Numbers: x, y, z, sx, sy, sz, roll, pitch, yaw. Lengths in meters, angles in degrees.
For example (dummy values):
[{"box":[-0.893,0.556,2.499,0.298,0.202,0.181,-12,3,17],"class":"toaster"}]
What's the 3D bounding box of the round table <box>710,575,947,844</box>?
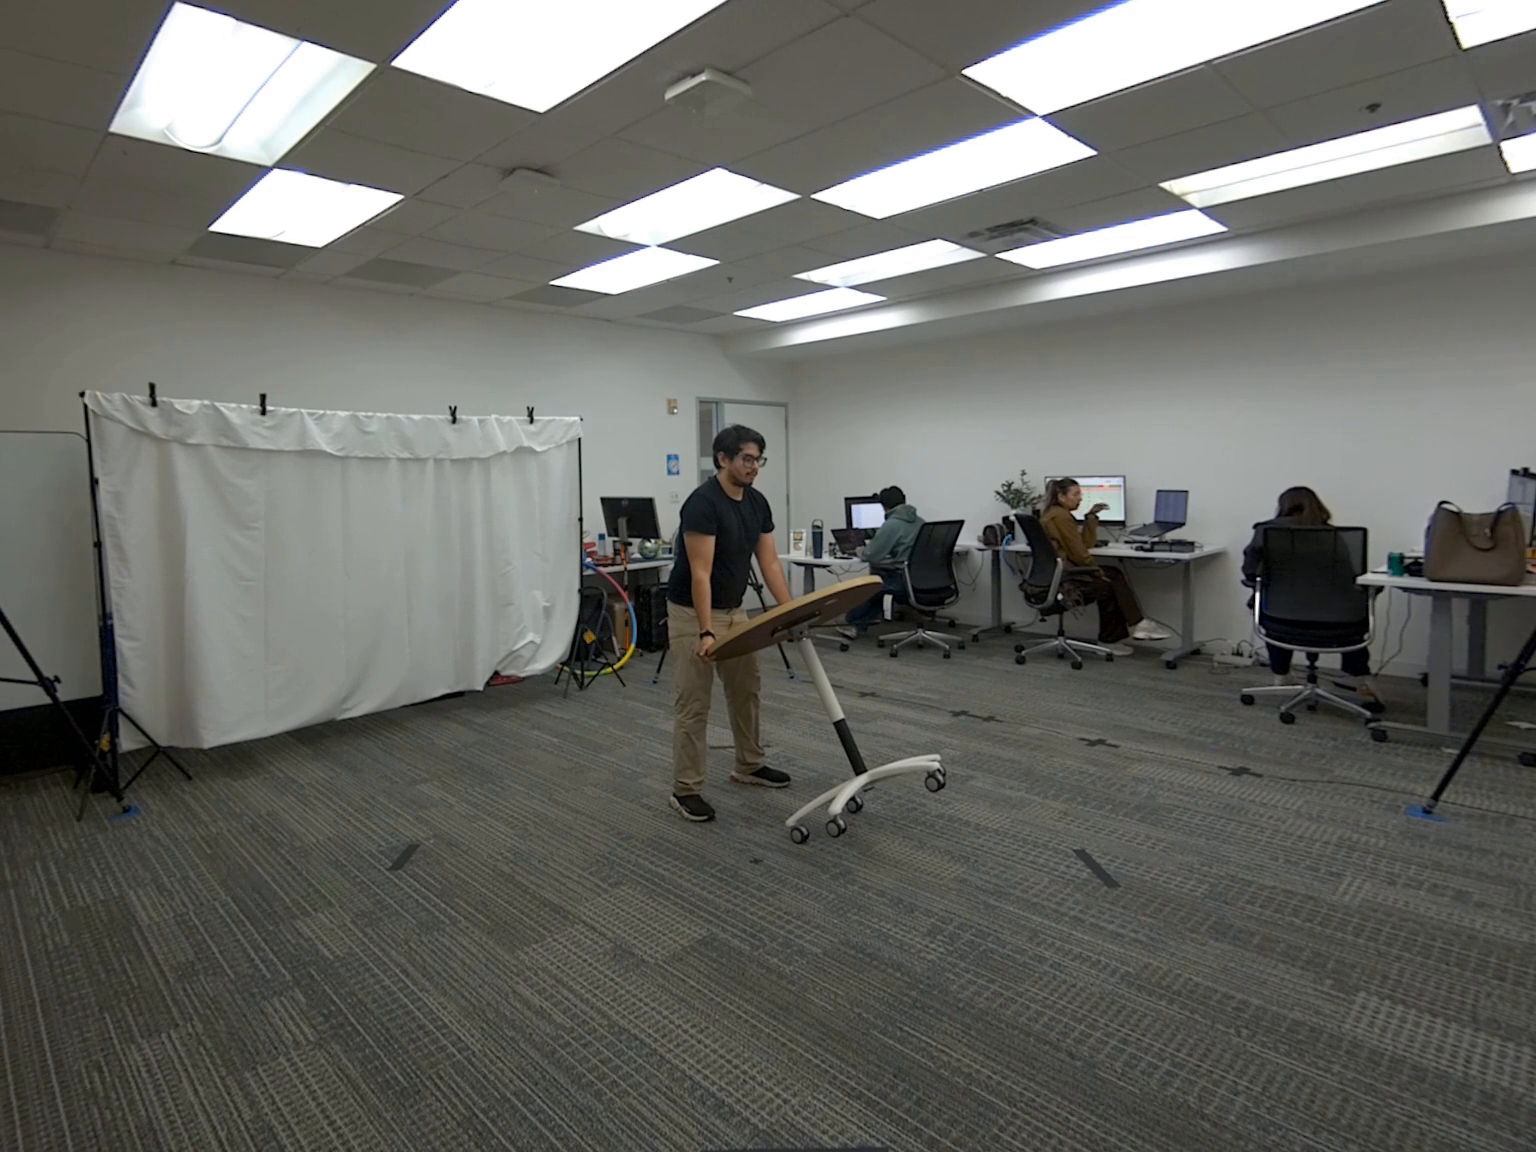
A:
[{"box":[0.248,0.529,3.332,0.782,0.800,0.775,-21,-13,-7],"class":"round table"}]
